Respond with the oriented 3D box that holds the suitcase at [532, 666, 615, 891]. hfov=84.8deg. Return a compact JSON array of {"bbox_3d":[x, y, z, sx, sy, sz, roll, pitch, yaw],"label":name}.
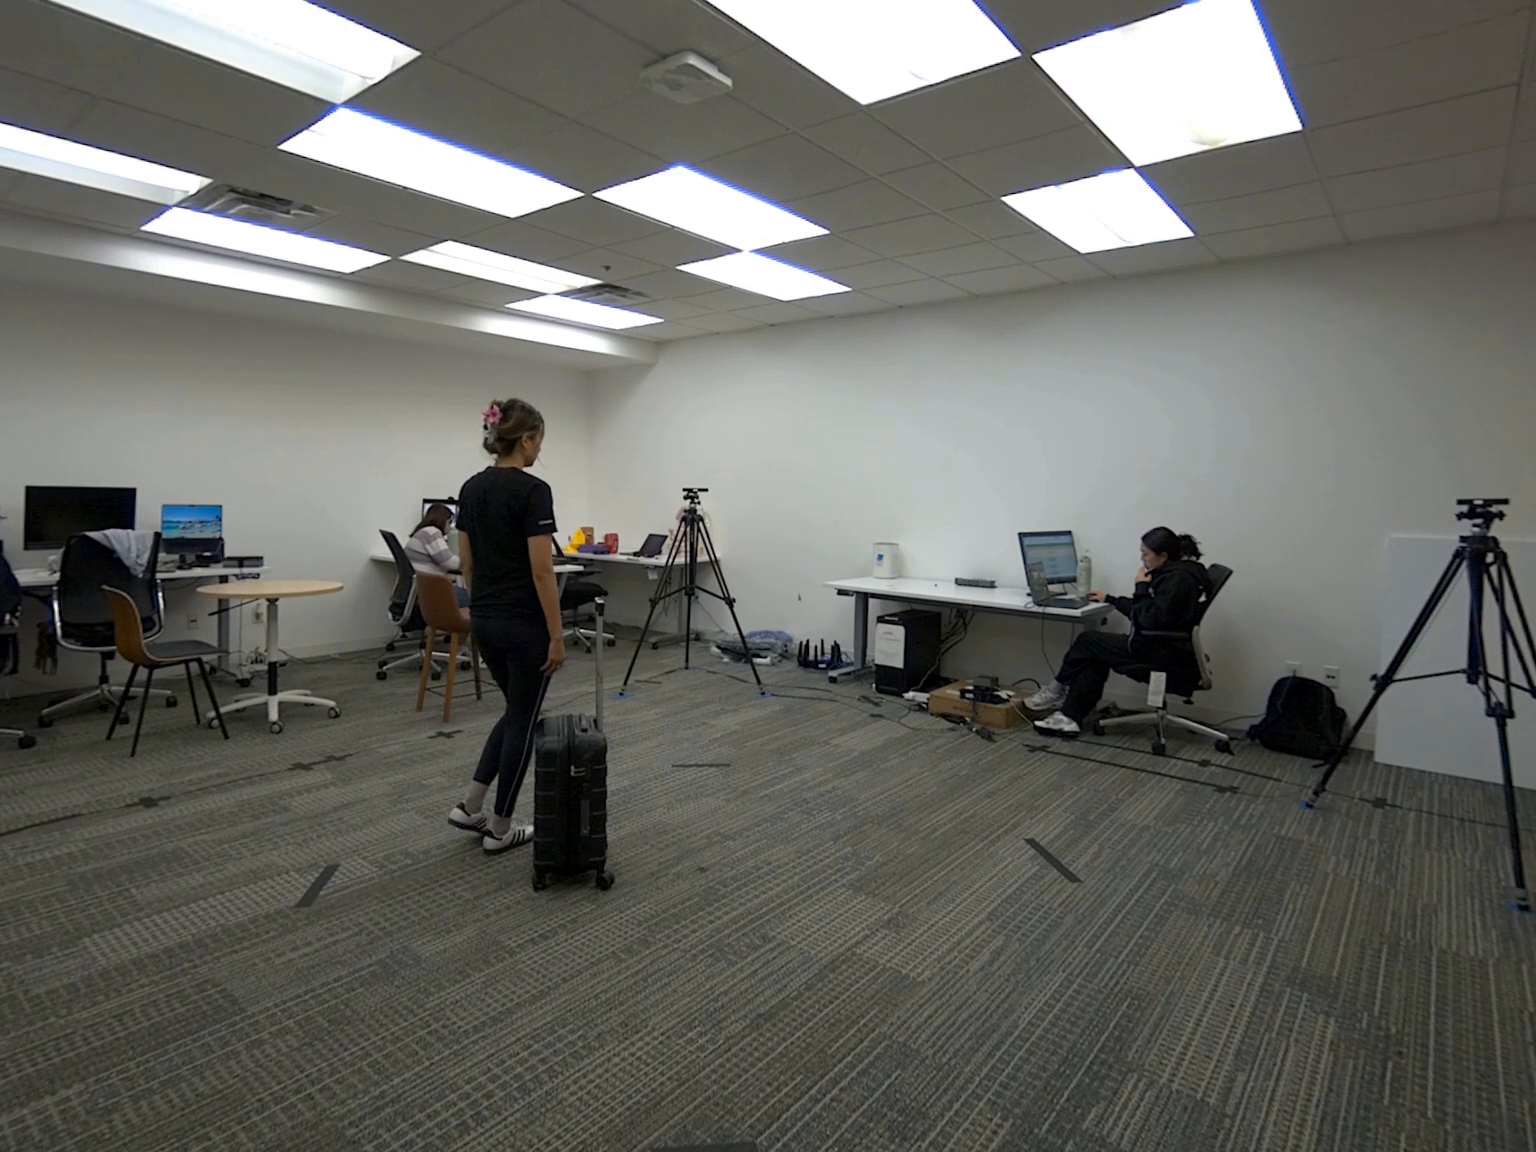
[{"bbox_3d":[-0.731,0.593,3.056,0.254,0.976,0.389,-2,3,-11],"label":"suitcase"}]
